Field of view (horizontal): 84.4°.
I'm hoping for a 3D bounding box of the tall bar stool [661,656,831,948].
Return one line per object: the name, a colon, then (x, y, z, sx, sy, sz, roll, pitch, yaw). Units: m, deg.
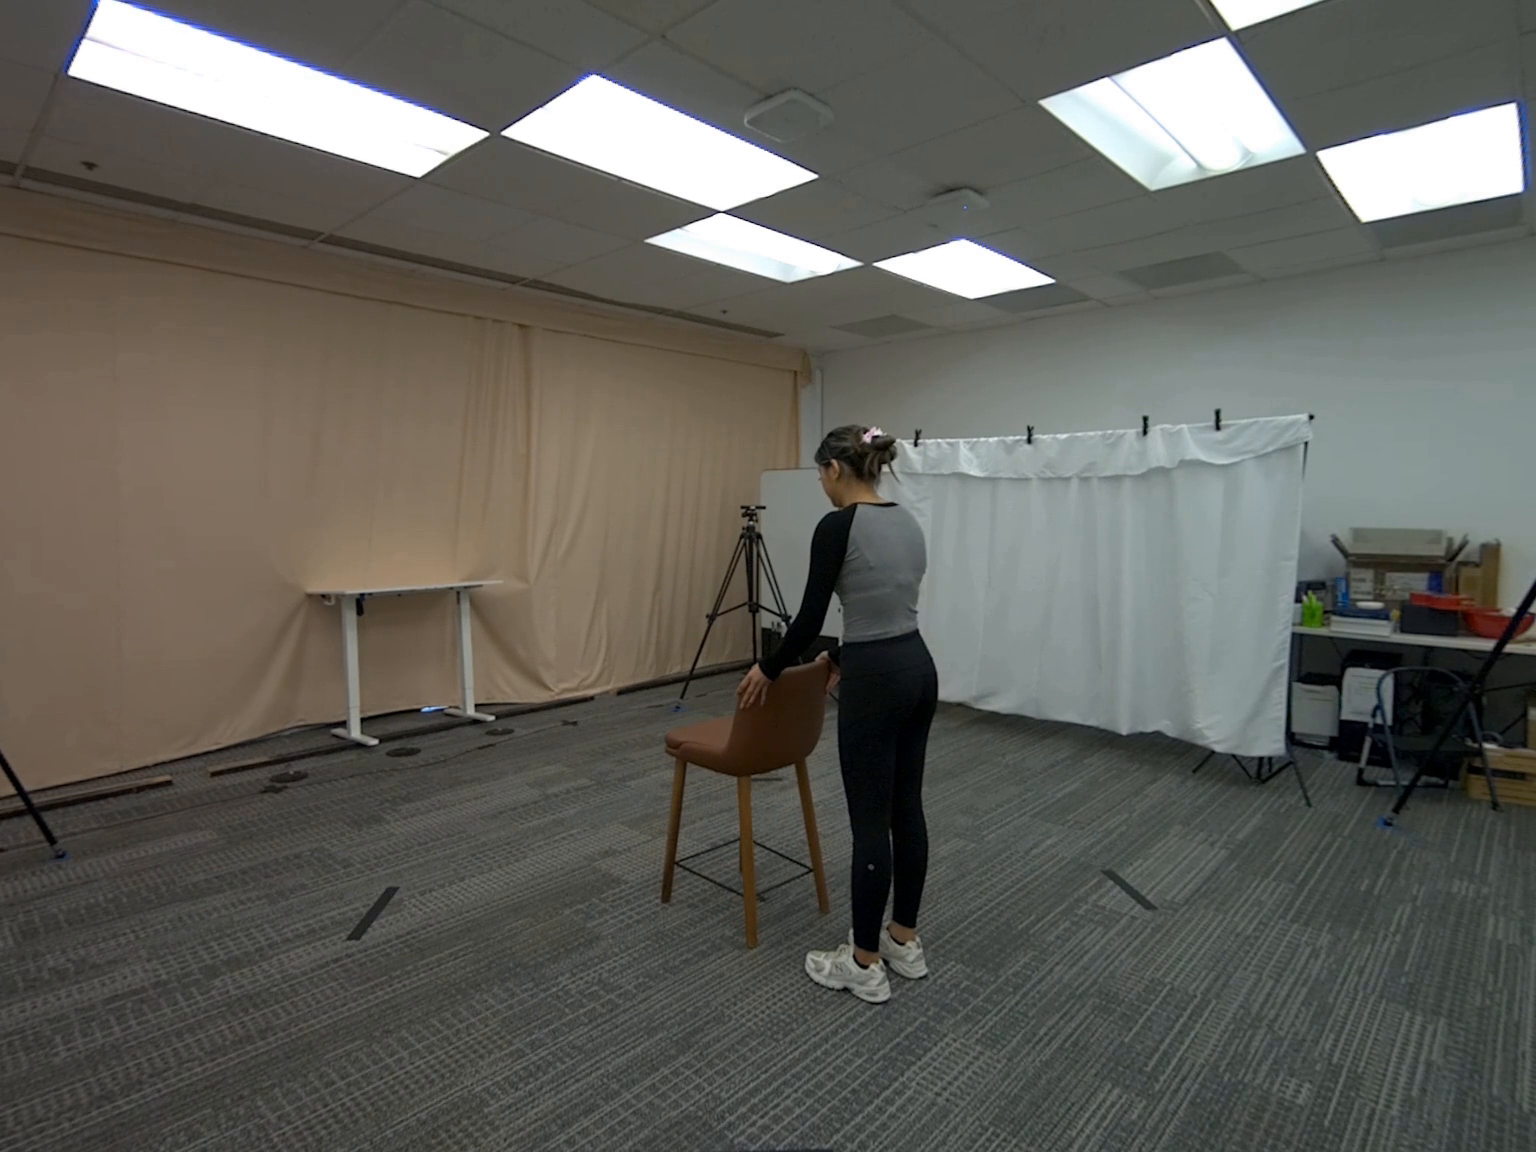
tall bar stool: (-0.070, 0.712, 2.901, 0.442, 0.887, 0.484, -3, 7, -43)
